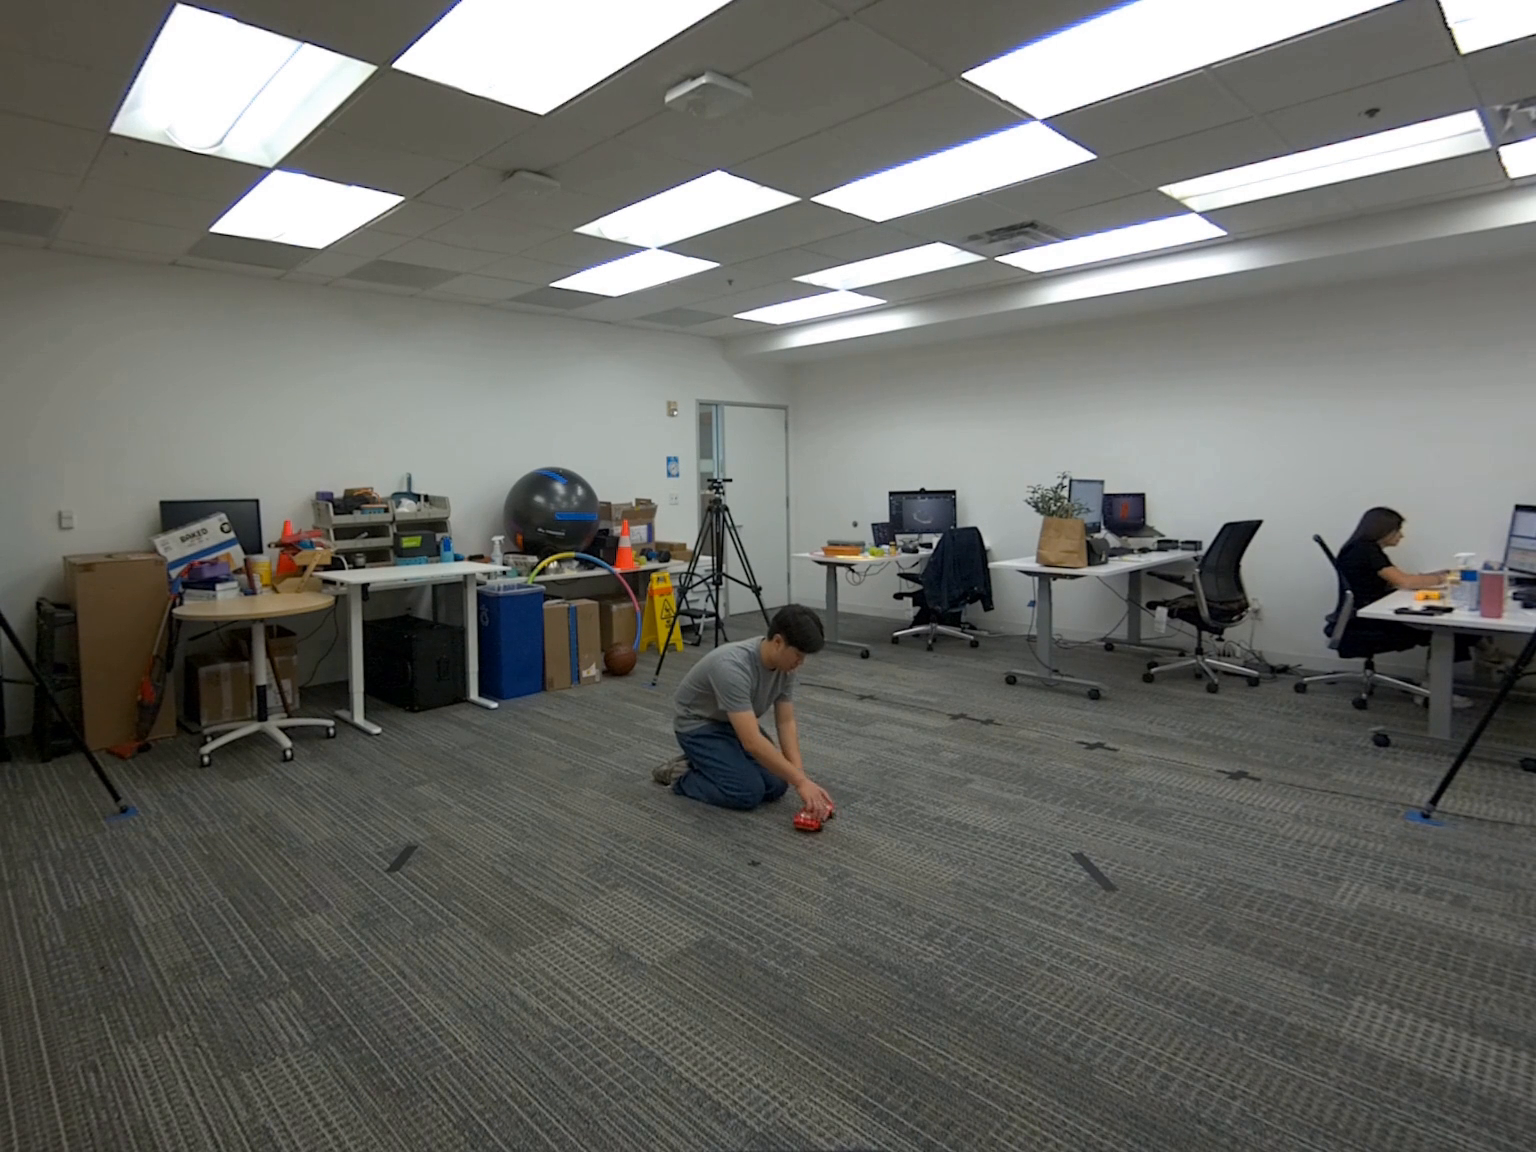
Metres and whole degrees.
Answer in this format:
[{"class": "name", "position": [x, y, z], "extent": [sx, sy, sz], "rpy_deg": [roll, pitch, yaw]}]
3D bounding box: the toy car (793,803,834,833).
[{"class": "toy car", "position": [0.182, 0.976, 3.454], "extent": [0.133, 0.083, 0.247], "rpy_deg": [3, -5, 23]}]
